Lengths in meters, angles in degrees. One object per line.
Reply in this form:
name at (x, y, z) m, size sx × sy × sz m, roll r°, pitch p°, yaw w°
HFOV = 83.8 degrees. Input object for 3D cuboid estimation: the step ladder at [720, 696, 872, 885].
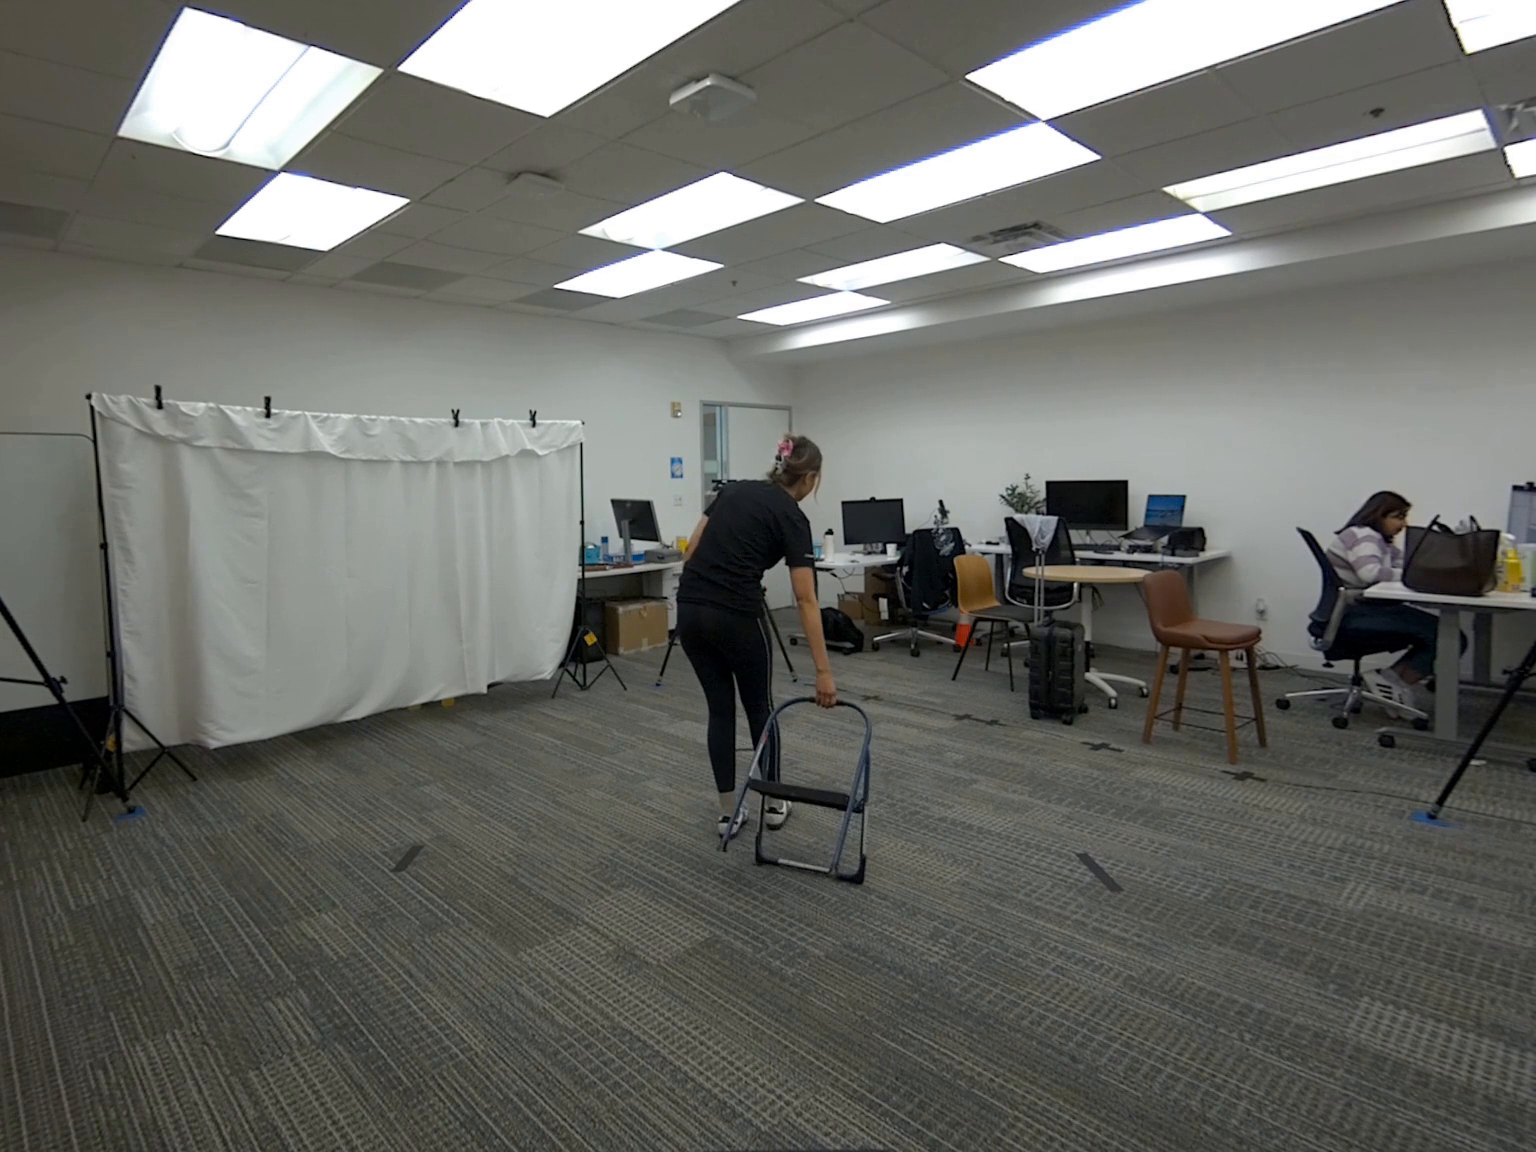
step ladder at (0.141, 0.715, 3.011) m, size 0.441 × 0.614 × 0.336 m, roll 1°, pitch -24°, yaw 26°
